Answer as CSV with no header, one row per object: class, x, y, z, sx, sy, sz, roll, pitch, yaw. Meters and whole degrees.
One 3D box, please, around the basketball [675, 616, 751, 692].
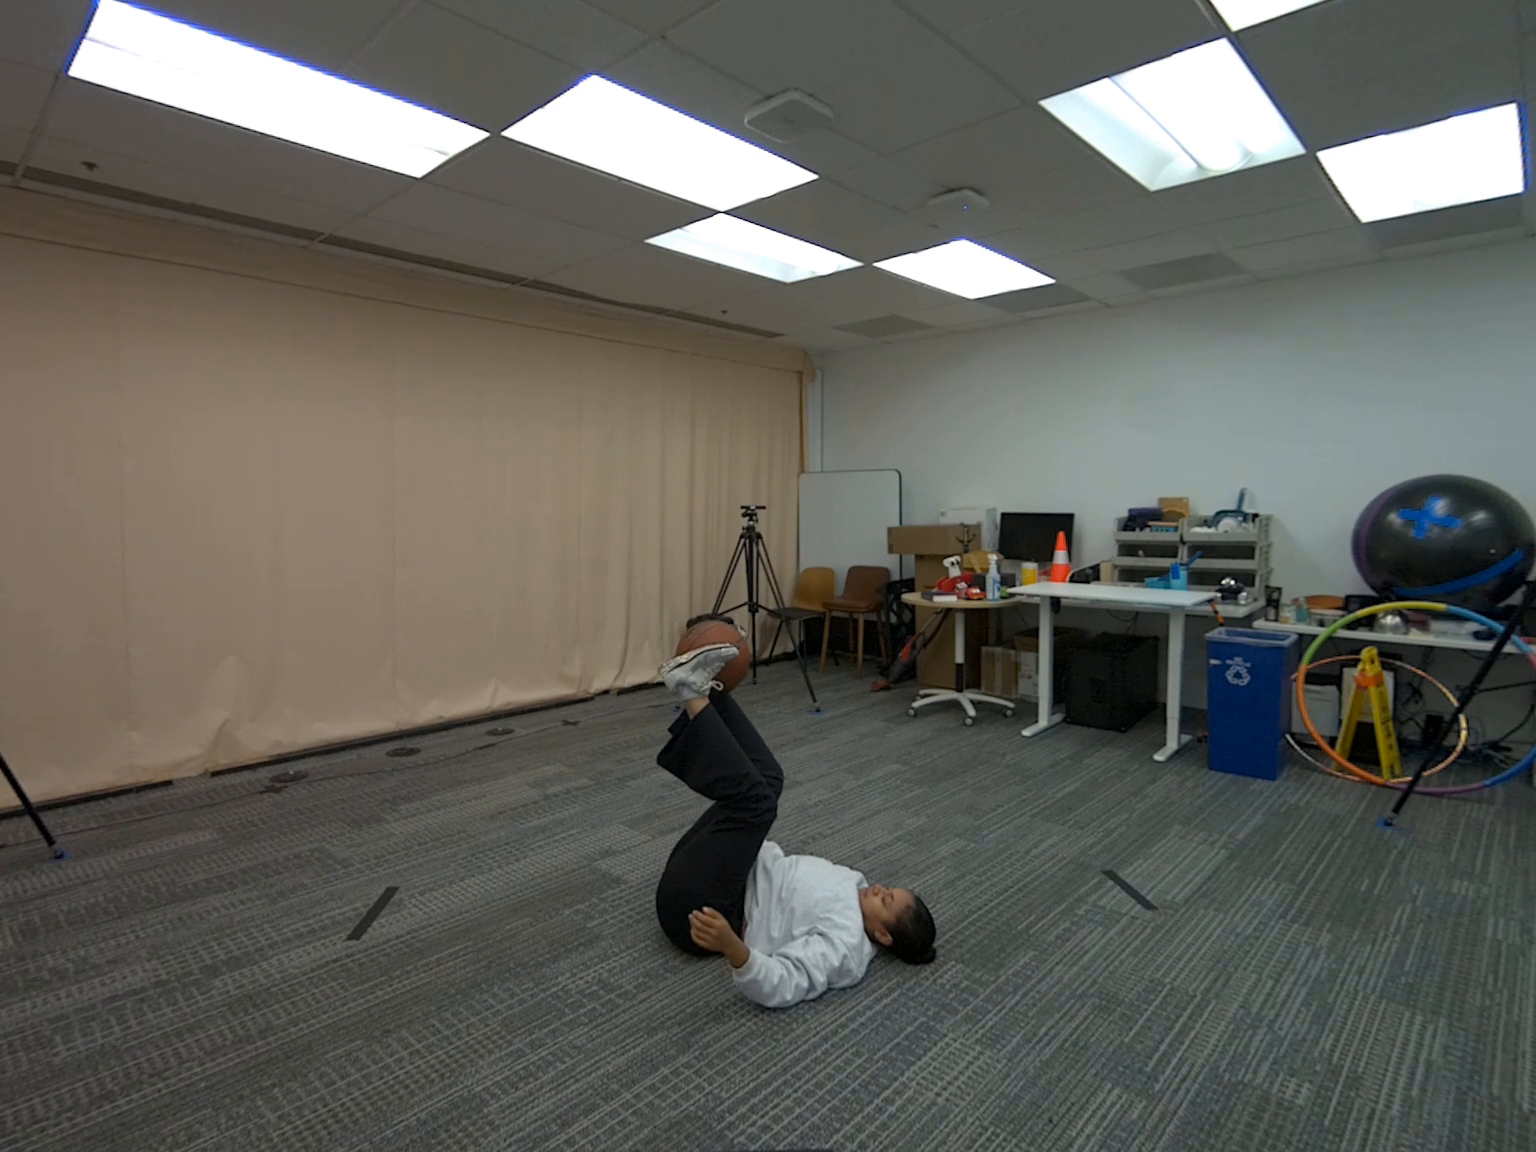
basketball,-0.174,0.262,2.690,0.236,0.236,0.236,2,0,-2
